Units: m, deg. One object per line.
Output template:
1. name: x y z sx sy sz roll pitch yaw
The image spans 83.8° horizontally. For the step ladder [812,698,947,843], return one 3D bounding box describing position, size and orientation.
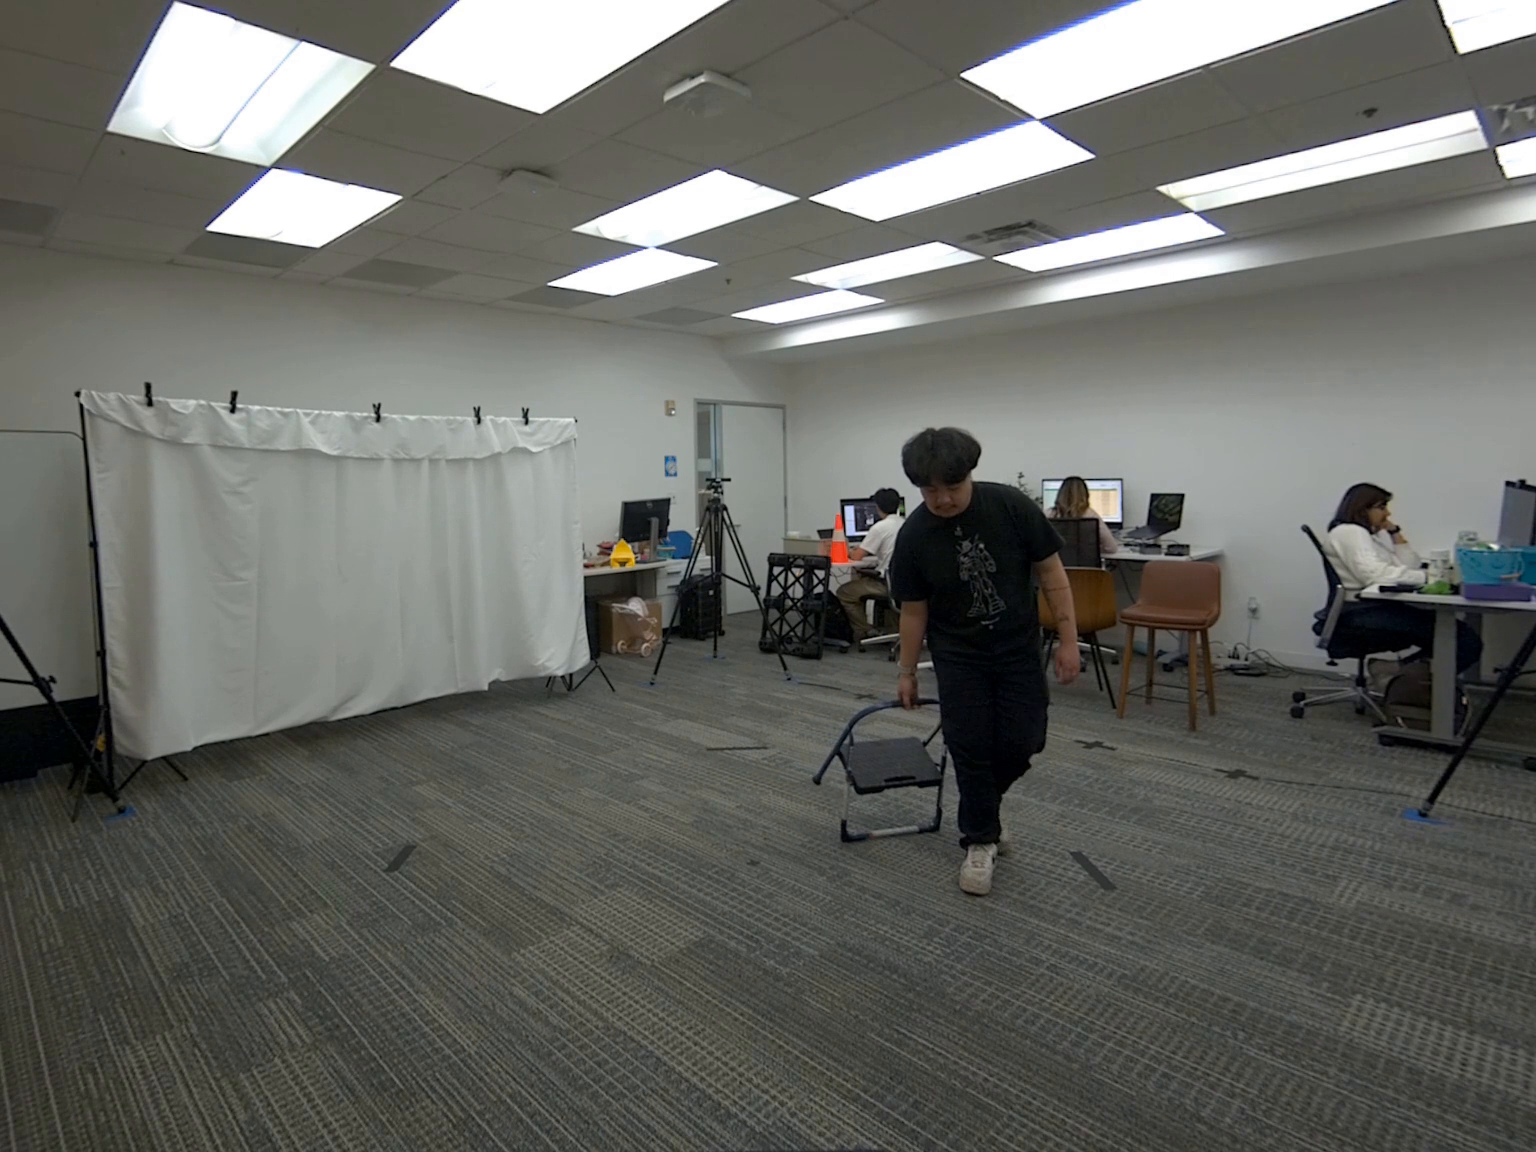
1. step ladder: 0.471 0.673 3.311 0.424 0.594 0.361 -2 31 -16
